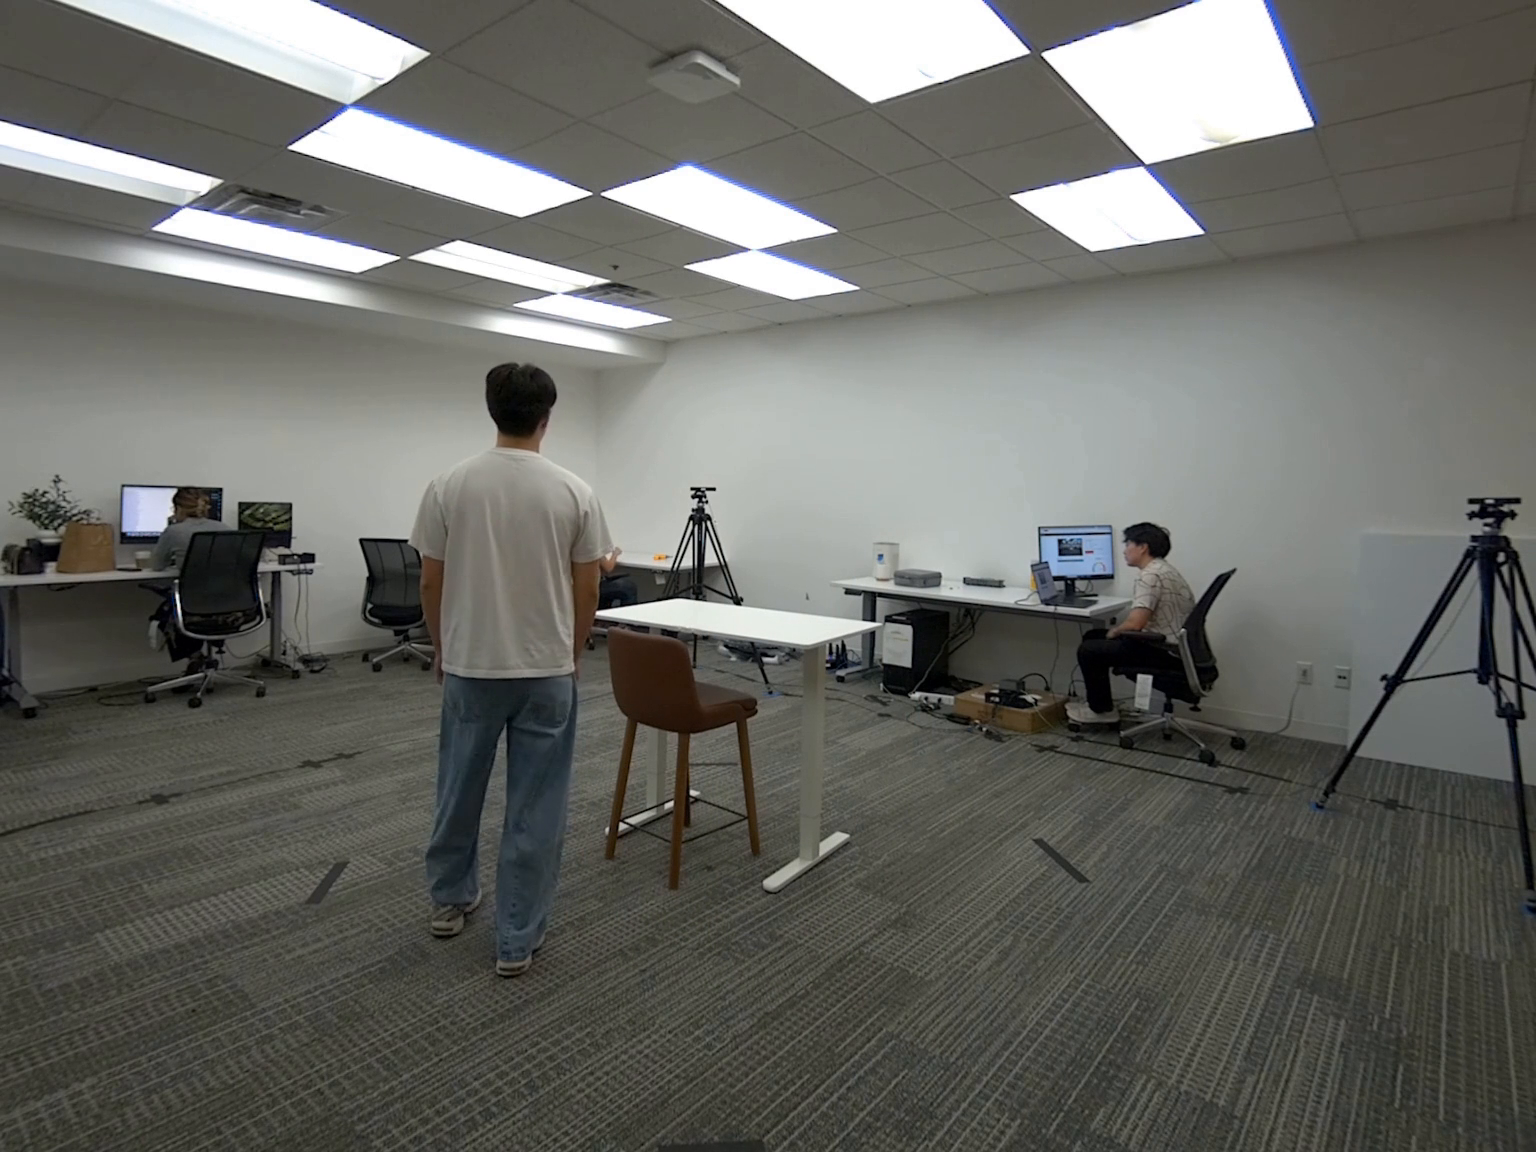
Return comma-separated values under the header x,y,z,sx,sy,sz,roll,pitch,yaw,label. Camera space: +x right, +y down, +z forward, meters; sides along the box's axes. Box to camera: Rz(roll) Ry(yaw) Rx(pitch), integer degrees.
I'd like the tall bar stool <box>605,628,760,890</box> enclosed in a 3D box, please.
x,y,z,sx,sy,sz,roll,pitch,yaw,label
-0.339,0.621,3.189,0.472,0.886,0.454,4,6,42,tall bar stool
